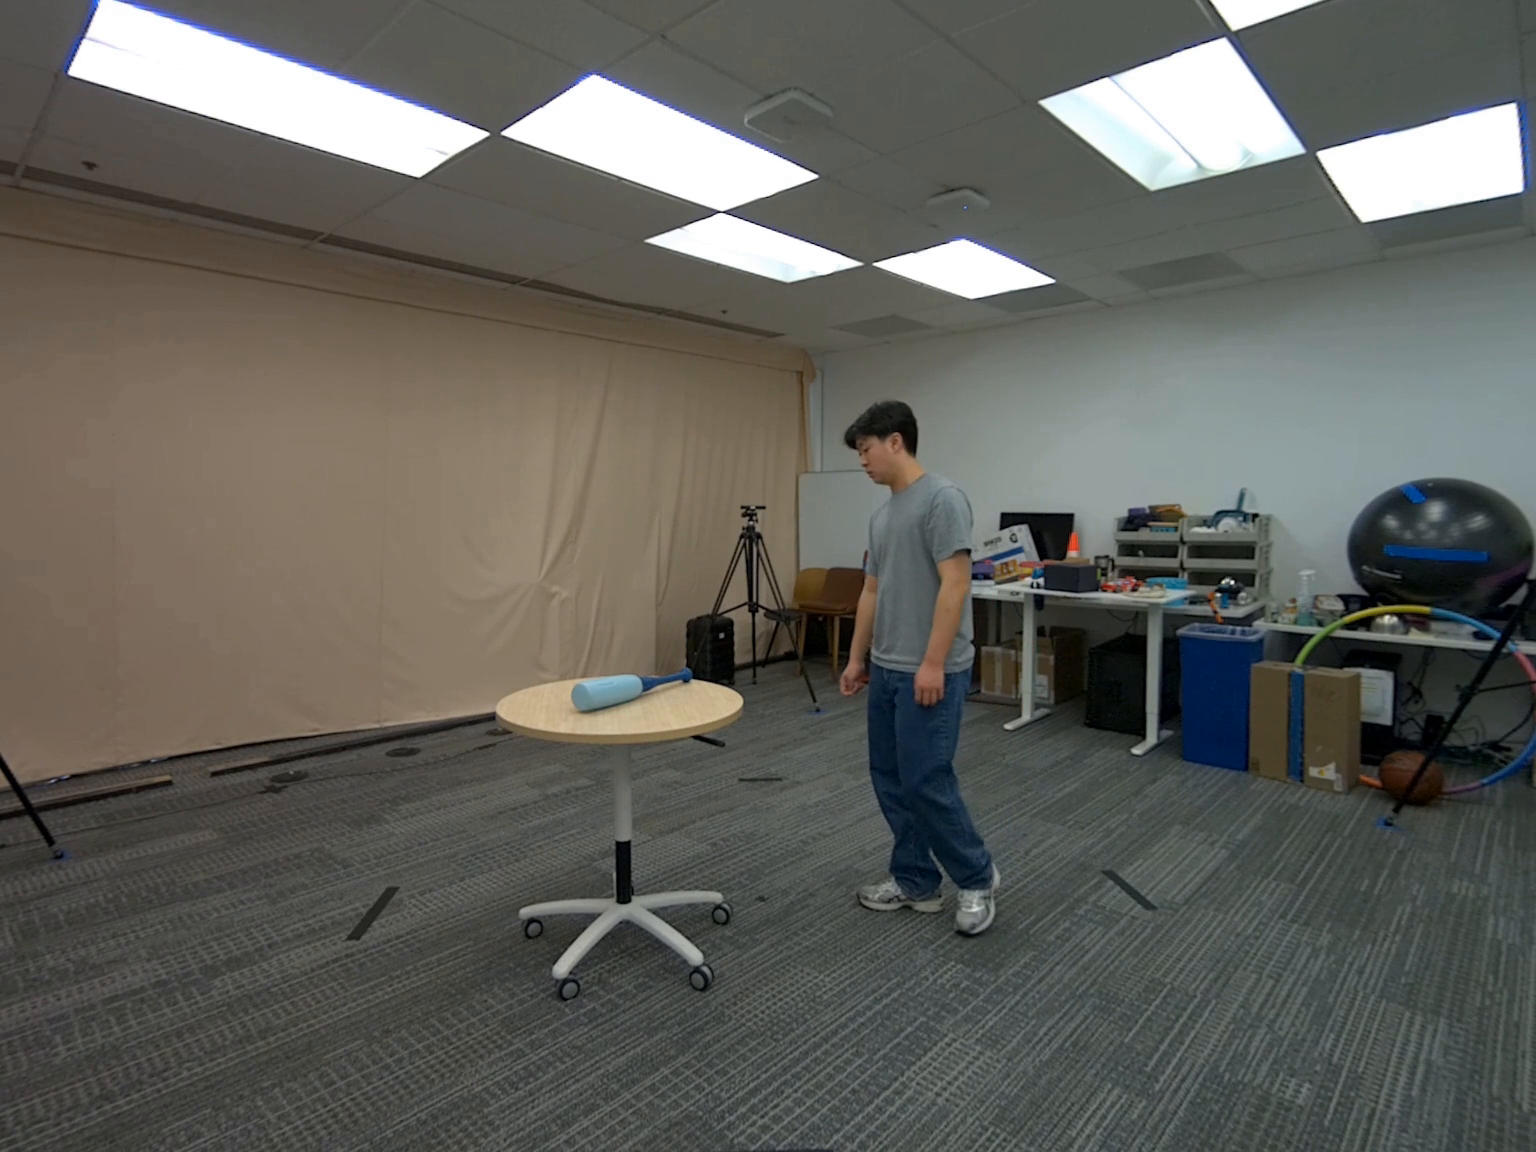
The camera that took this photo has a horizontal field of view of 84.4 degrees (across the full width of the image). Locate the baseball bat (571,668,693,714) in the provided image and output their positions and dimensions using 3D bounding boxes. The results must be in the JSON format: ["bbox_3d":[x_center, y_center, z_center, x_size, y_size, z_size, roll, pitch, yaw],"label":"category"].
[{"bbox_3d":[-0.416,0.356,2.697,0.092,0.089,0.527,2,2,31],"label":"baseball bat"}]
